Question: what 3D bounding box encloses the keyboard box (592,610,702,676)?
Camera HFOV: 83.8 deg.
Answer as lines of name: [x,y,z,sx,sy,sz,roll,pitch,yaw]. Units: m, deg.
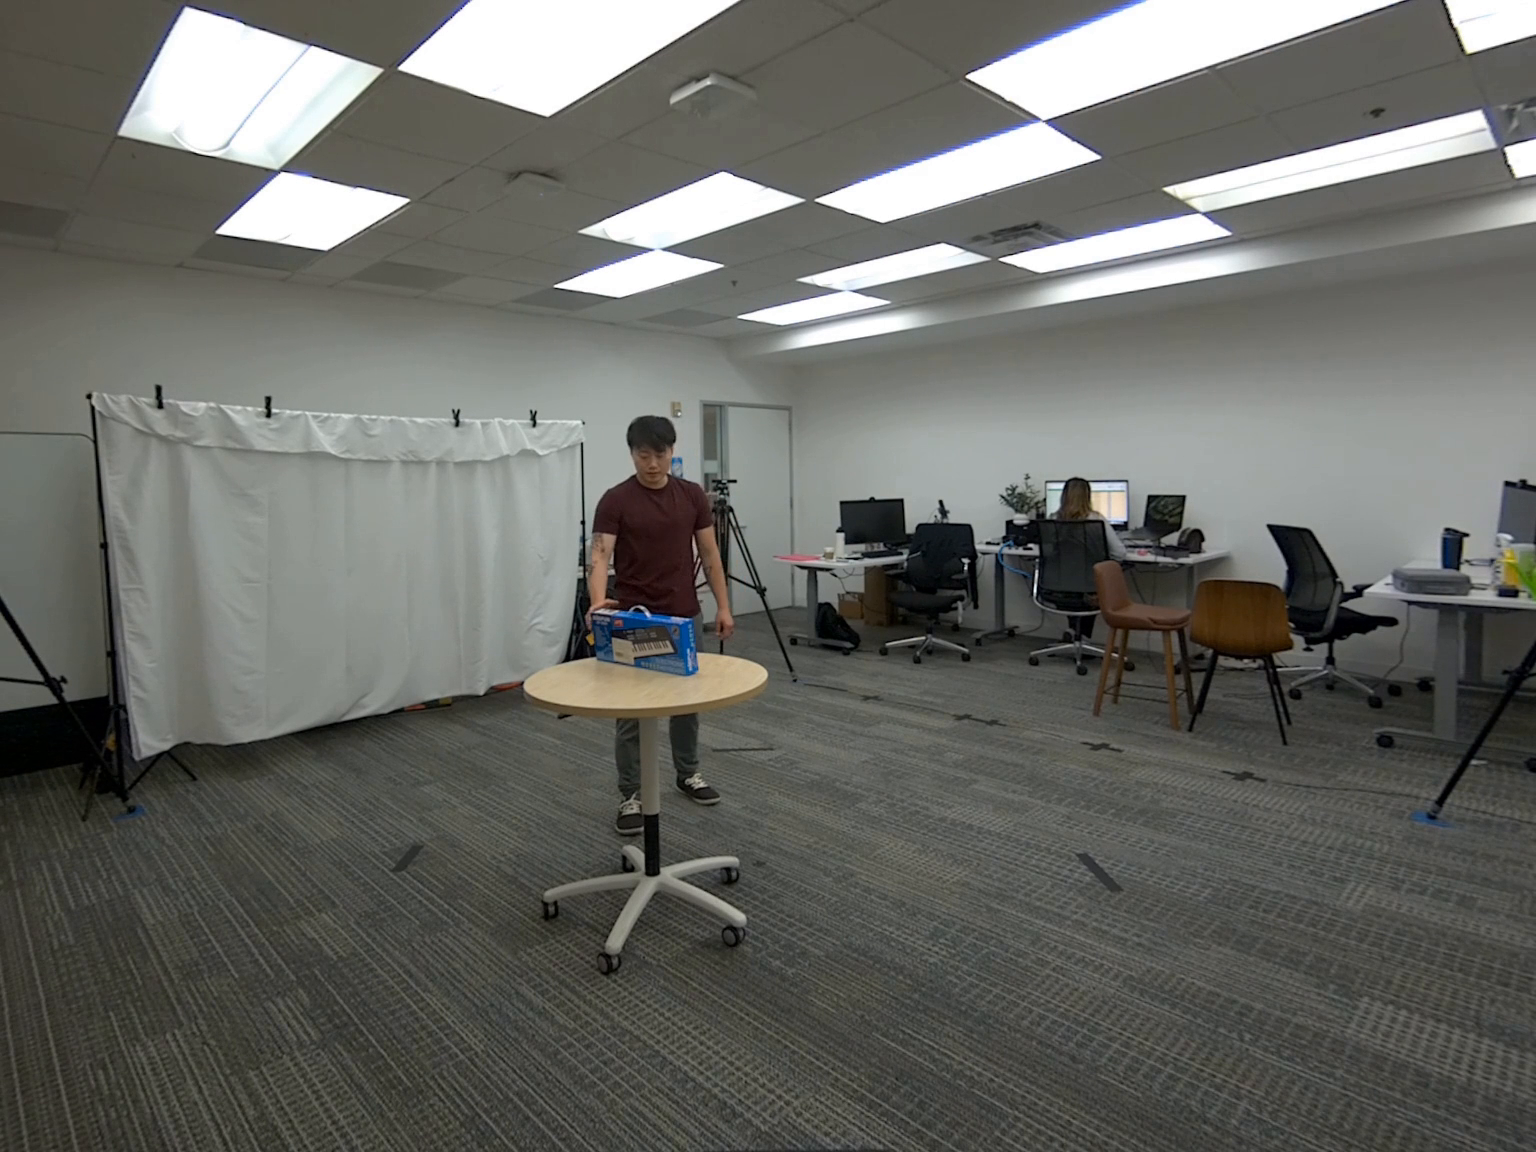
keyboard box: [-0.426,0.220,2.842,0.450,0.174,0.058,3,12,40]
